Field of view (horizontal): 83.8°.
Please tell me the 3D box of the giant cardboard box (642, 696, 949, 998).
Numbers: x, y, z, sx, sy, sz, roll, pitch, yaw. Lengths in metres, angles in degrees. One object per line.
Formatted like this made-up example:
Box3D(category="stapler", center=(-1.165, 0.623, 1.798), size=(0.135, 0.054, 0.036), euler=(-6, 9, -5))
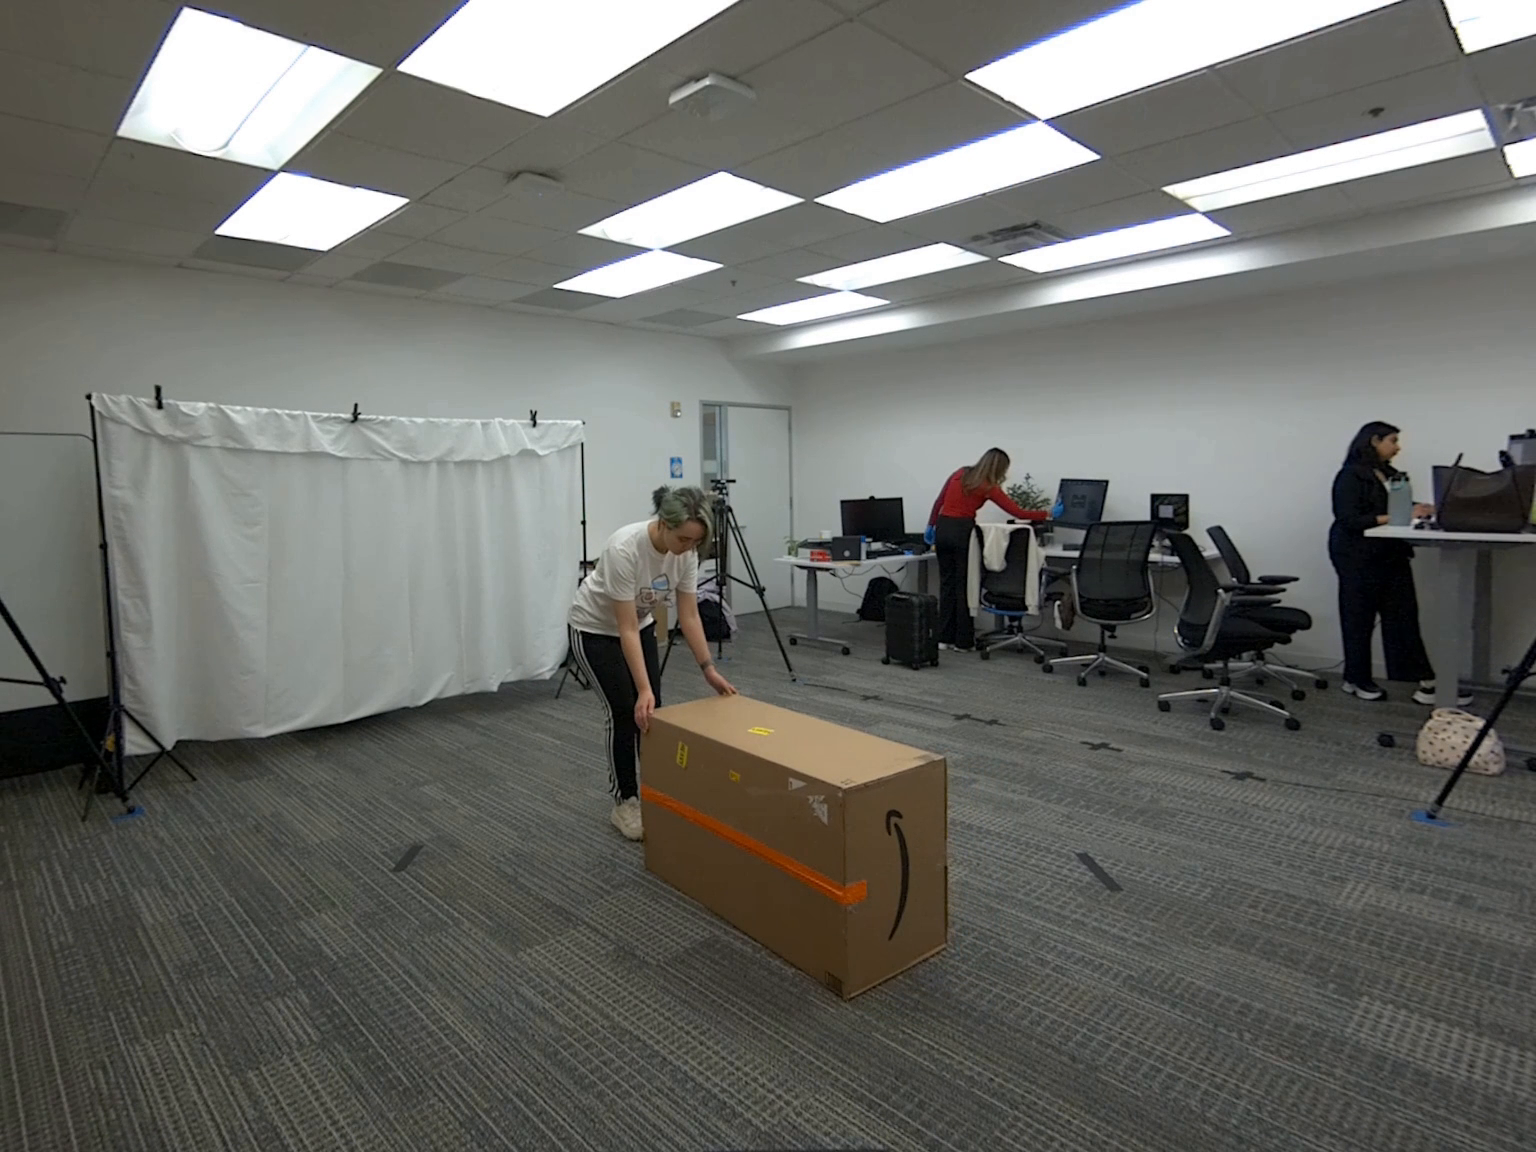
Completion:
Box3D(category="giant cardboard box", center=(0.040, 0.794, 2.793), size=(0.435, 0.581, 1.058), euler=(-6, 7, -39))
